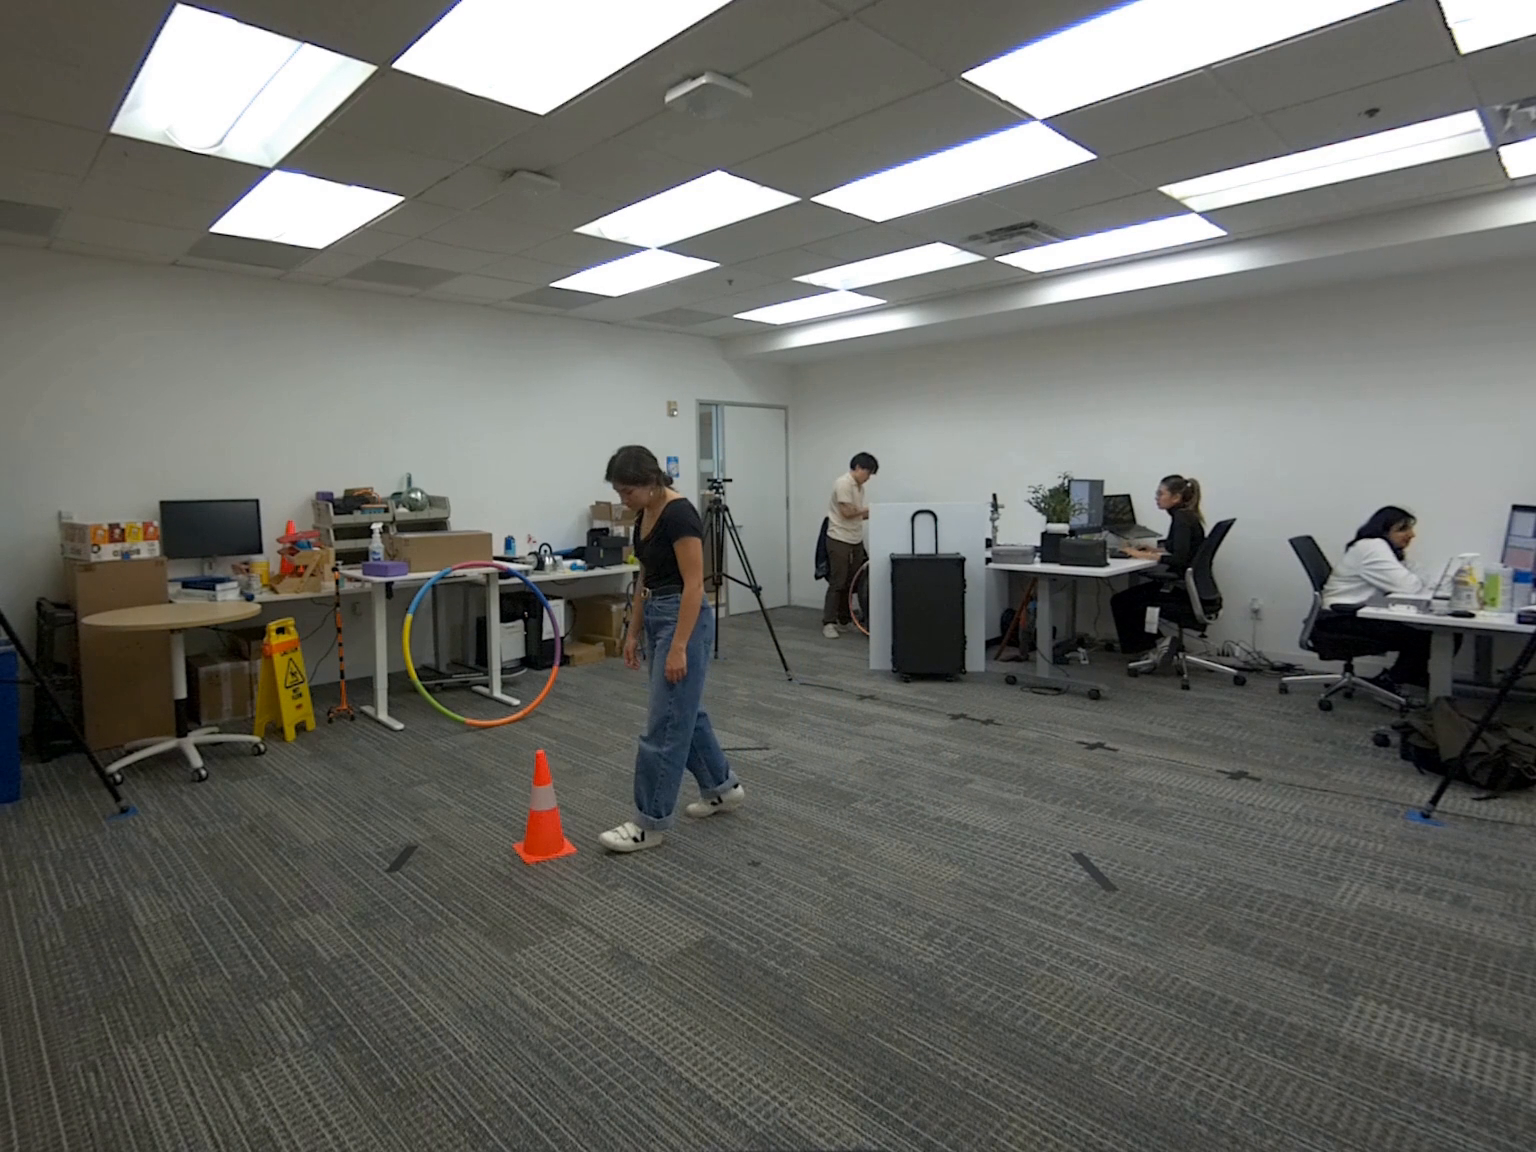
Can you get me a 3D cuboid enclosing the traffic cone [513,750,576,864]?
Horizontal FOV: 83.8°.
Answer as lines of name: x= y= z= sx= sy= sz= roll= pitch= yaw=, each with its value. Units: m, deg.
traffic cone: x=-0.859 y=0.858 z=3.267 sx=0.199 sy=0.382 sz=0.210 roll=-2 pitch=4 yaw=-26
